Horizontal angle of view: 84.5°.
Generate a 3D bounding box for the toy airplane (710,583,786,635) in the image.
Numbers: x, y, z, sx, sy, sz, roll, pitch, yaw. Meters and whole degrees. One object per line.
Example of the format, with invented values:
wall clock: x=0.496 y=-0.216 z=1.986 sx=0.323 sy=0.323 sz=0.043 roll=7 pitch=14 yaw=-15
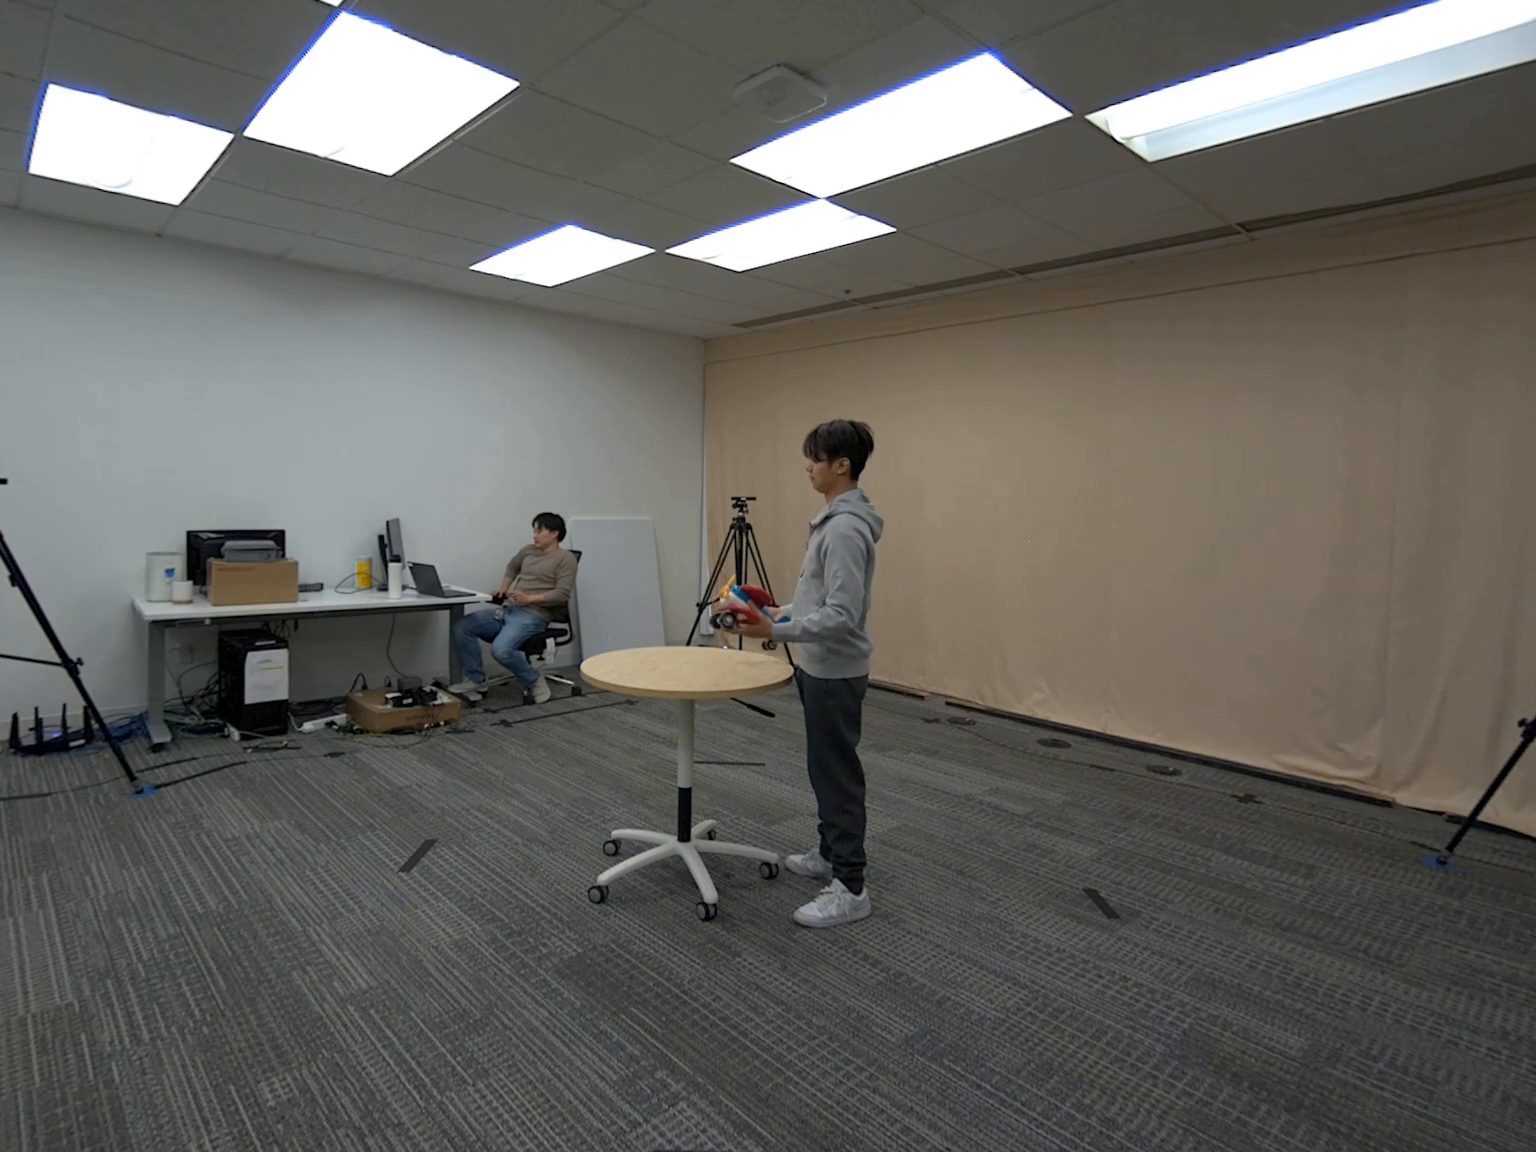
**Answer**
toy airplane: x=-0.071 y=0.124 z=2.726 sx=0.258 sy=0.157 sz=0.251 roll=8 pitch=-19 yaw=42
